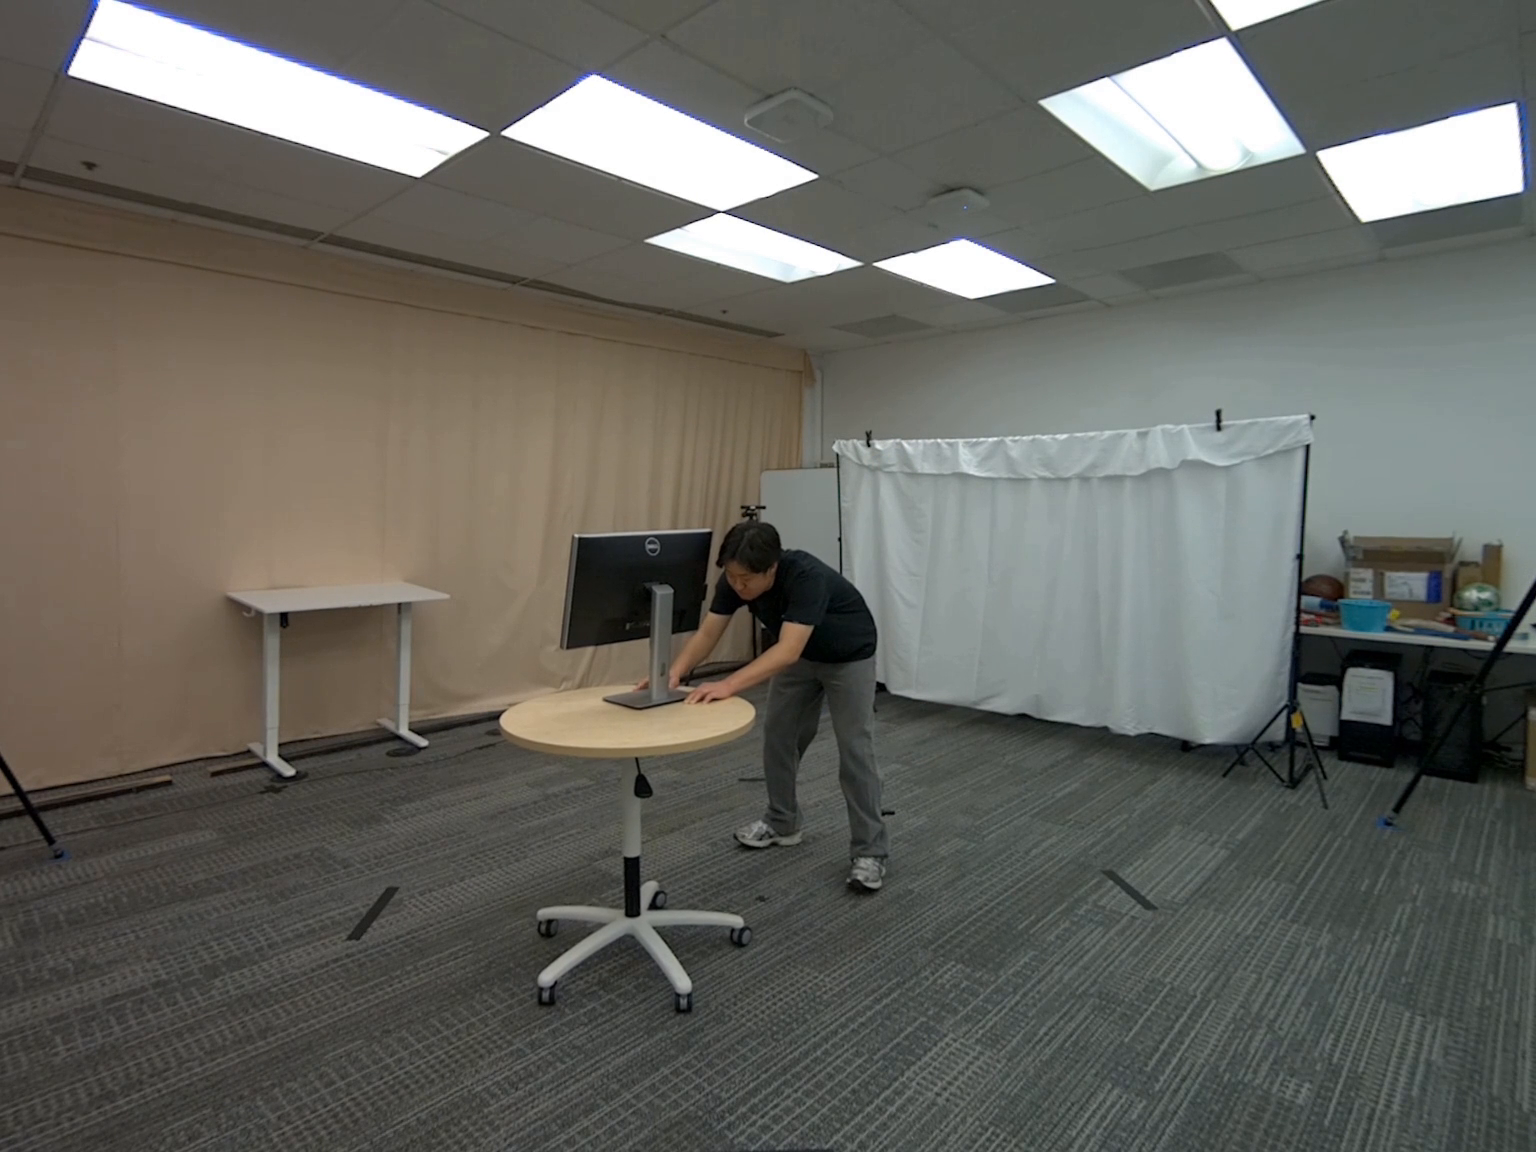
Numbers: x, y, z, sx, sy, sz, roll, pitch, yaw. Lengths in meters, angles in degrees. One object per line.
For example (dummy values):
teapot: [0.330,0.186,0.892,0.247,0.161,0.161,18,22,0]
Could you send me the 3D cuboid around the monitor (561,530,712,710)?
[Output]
monitor: [-0.365,0.134,2.682,0.217,0.552,0.548,11,10,43]
